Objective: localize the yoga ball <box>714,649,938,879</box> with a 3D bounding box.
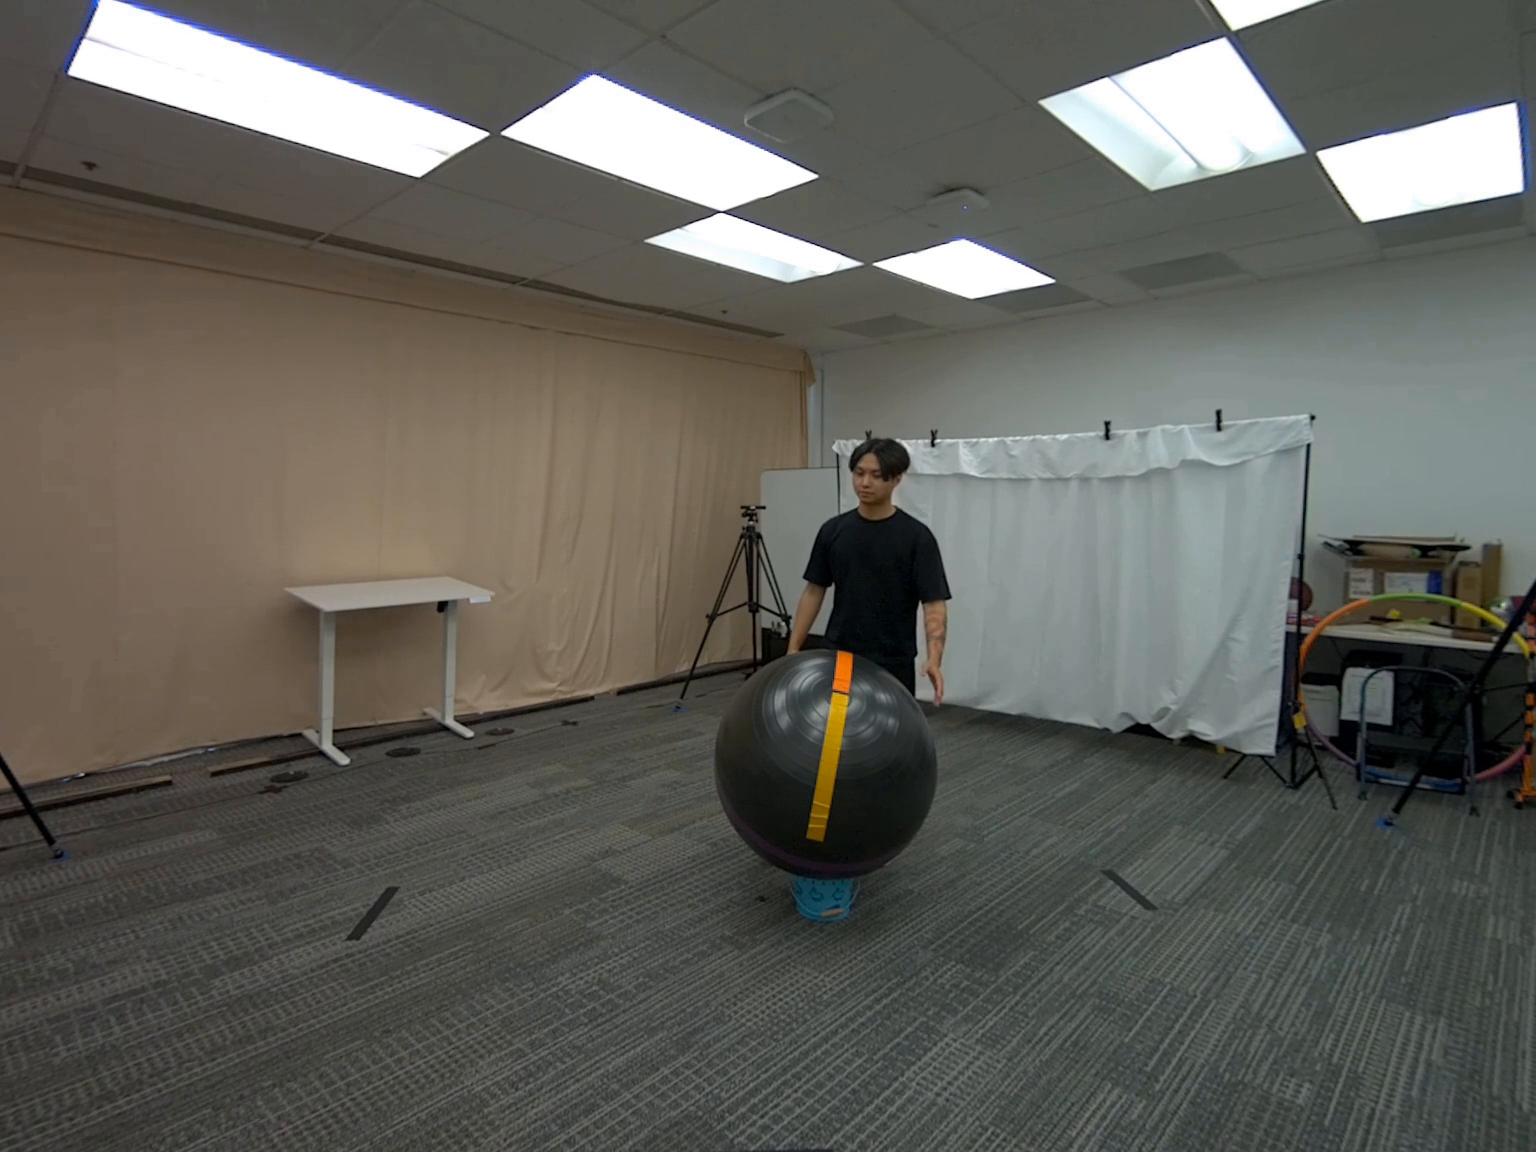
[{"bbox_3d":[0.198,0.642,2.885,0.757,0.756,0.760,0,4,-2],"label":"yoga ball"}]
